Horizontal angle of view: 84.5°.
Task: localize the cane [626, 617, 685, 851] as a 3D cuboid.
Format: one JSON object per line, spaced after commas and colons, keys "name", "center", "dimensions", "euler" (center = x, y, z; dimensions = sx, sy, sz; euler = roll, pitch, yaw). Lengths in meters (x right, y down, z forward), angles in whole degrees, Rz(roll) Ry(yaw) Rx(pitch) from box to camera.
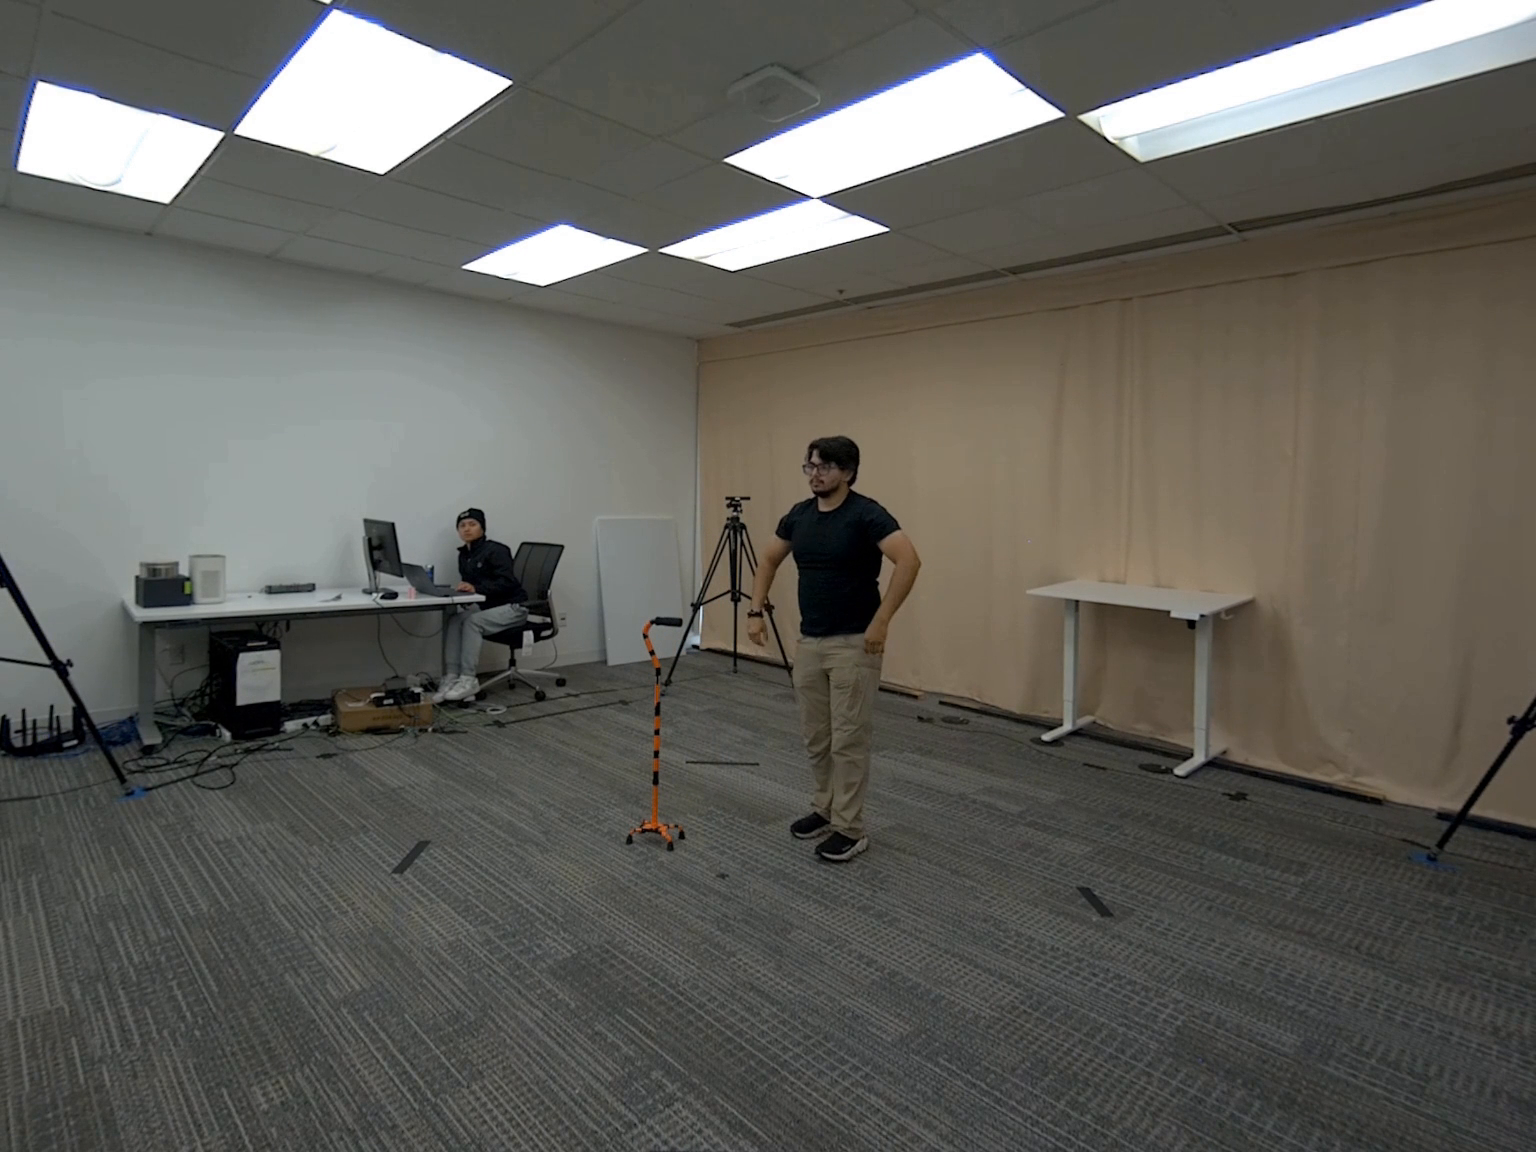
{"name": "cane", "center": [-0.457, 0.626, 3.388], "dimensions": [0.209, 0.906, 0.150], "euler": [2, 3, 15]}
